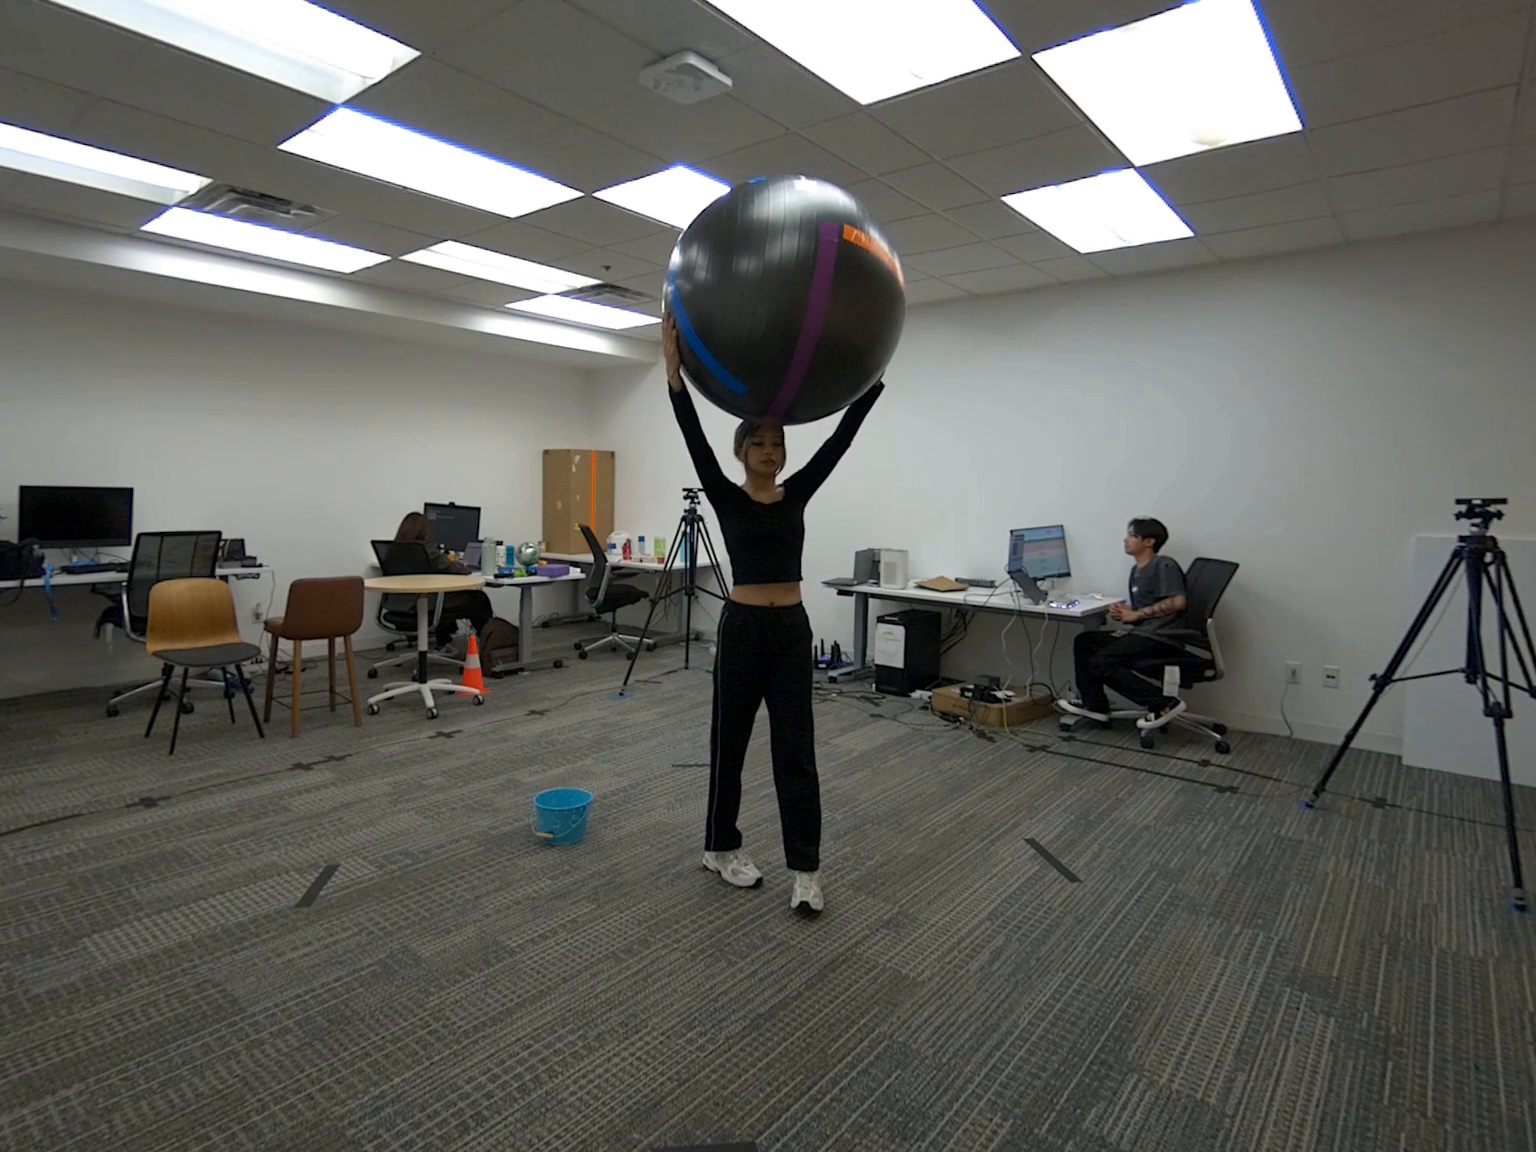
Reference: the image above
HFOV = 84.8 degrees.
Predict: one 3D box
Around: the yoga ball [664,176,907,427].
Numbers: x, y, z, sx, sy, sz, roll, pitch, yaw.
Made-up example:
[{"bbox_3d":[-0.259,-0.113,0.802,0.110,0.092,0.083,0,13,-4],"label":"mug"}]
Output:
[{"bbox_3d":[0.038,-0.851,2.667,0.757,0.755,0.762,1,4,-2],"label":"yoga ball"}]
